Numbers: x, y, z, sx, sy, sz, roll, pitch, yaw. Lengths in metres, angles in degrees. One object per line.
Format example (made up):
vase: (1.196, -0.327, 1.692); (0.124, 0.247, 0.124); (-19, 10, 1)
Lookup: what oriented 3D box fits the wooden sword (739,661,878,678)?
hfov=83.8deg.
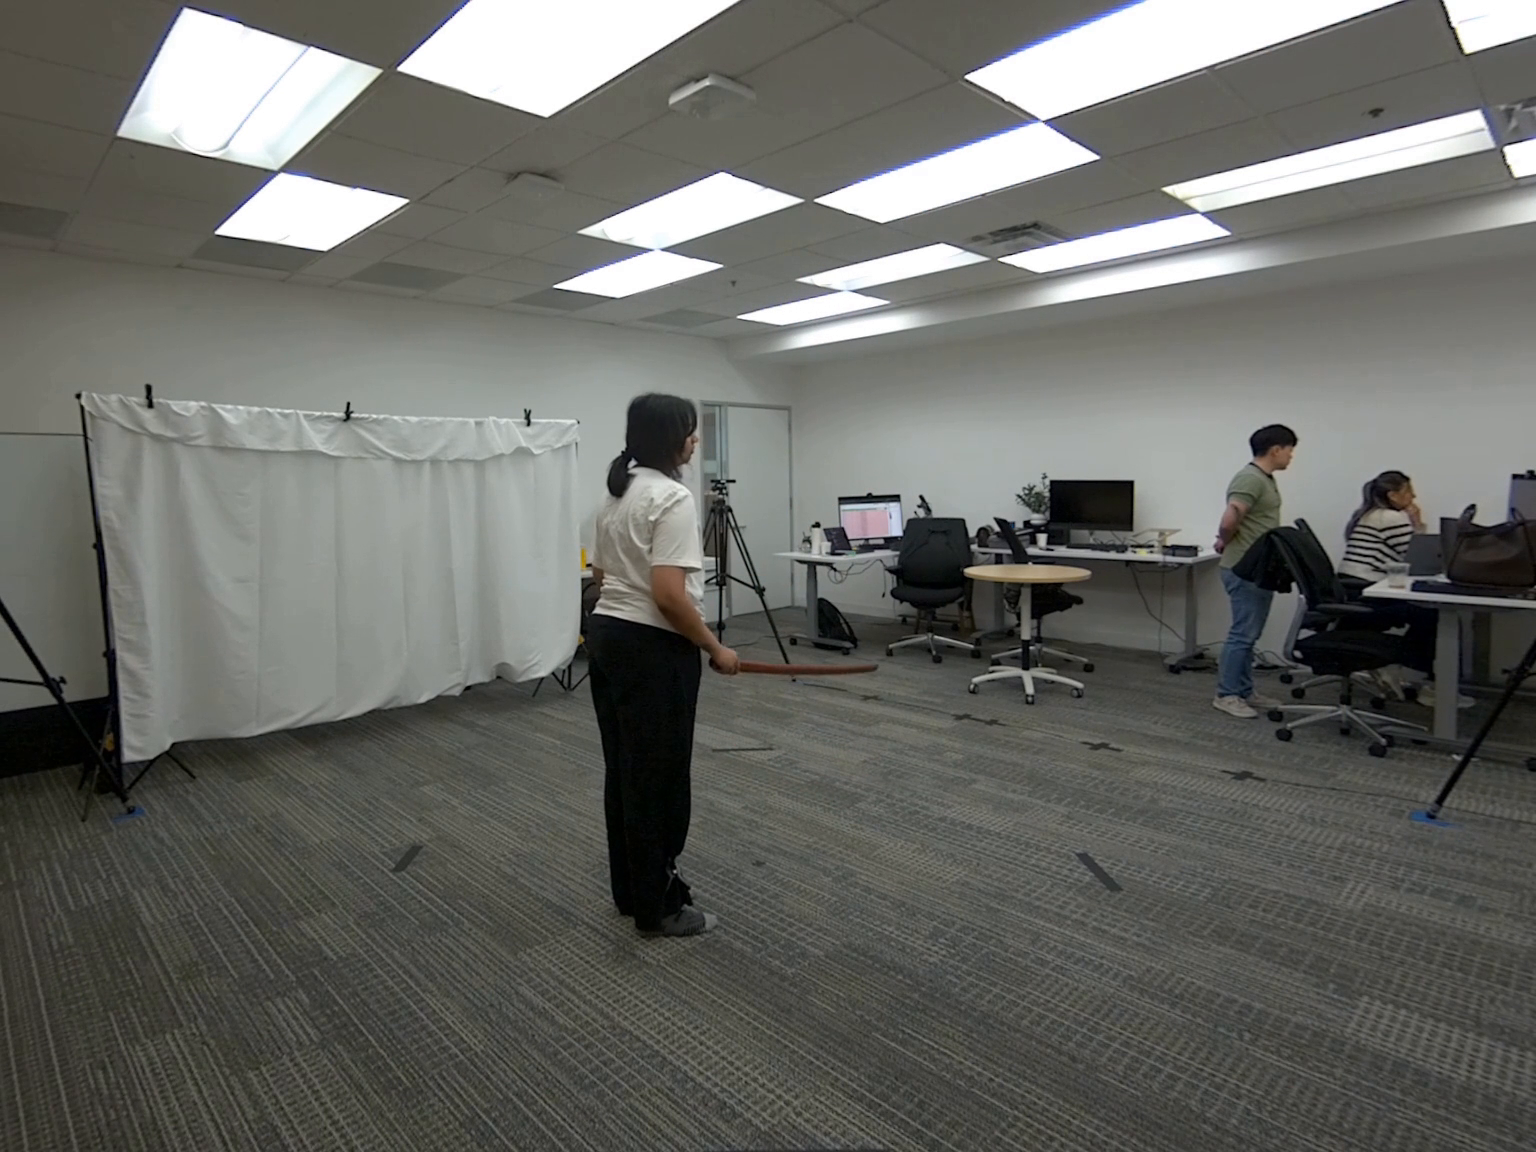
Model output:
wooden sword: (0.144, 0.332, 3.015); (0.024, 0.053, 0.993); (-46, -27, 23)
